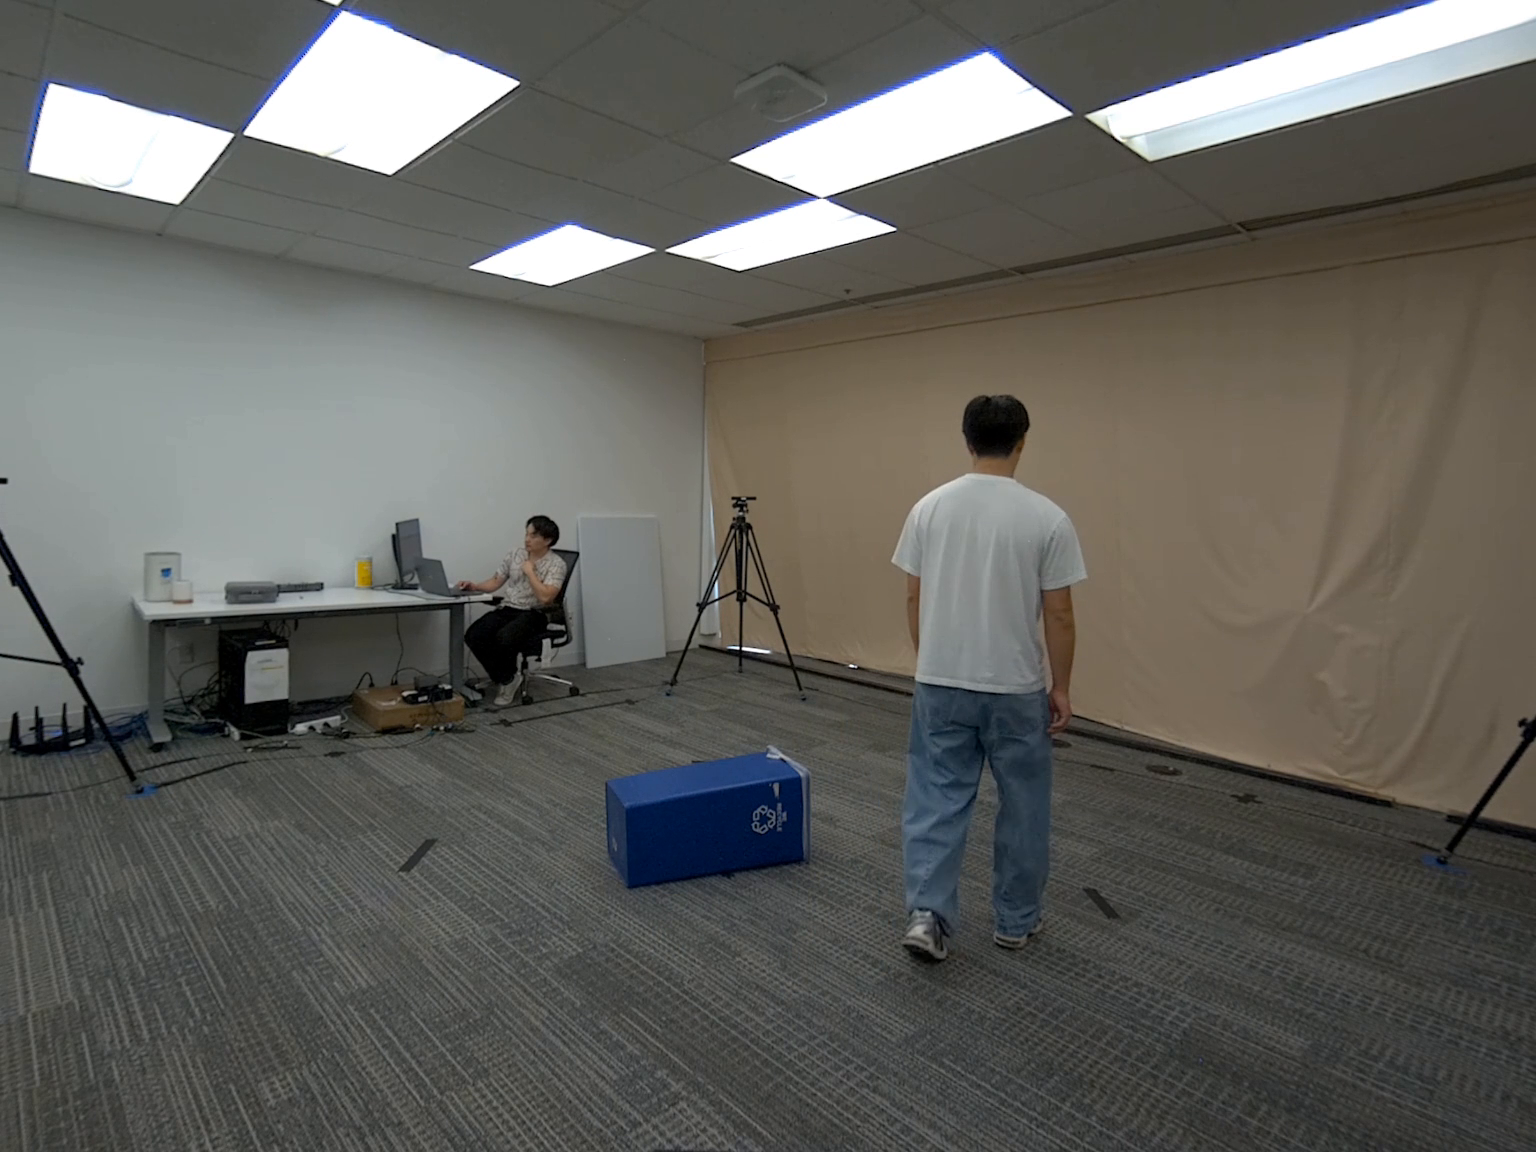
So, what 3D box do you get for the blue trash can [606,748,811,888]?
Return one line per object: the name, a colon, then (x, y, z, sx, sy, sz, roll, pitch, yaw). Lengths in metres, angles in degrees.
blue trash can: (-0.241, 0.928, 3.229, 0.702, 0.377, 0.381, -4, 6, -24)
